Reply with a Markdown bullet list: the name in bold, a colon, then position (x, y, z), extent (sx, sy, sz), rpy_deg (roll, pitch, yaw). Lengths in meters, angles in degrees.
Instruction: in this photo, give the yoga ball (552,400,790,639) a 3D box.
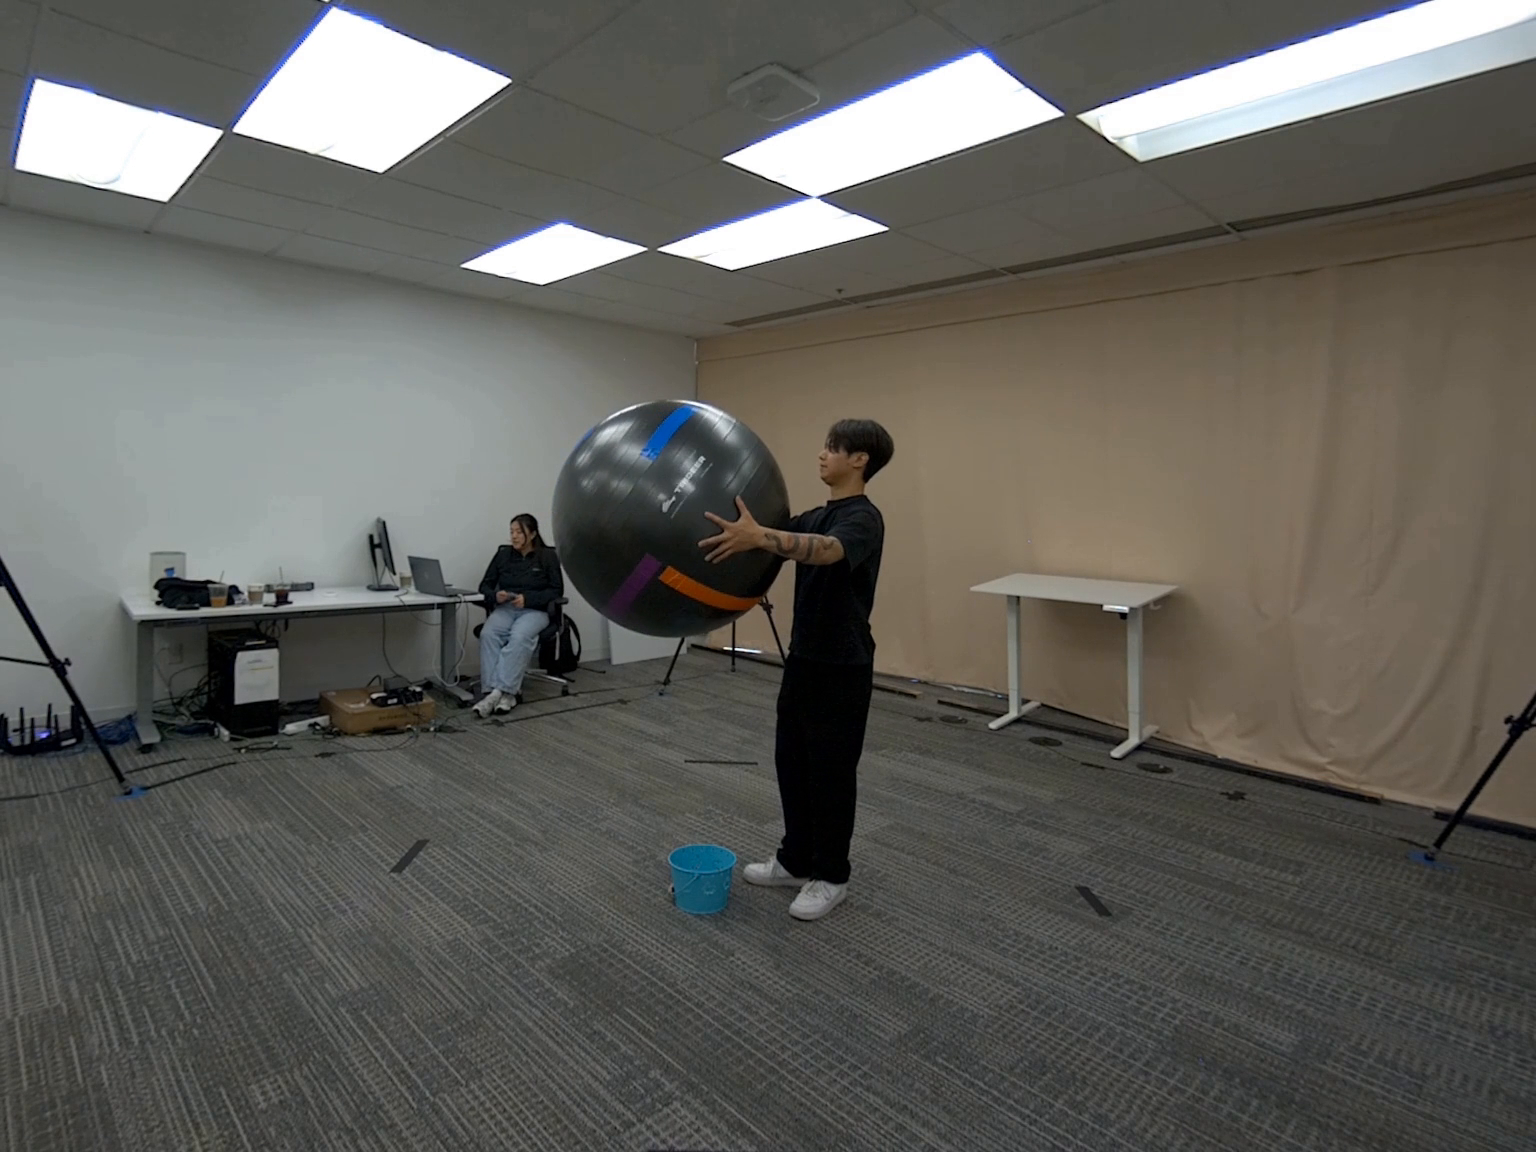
- **yoga ball**: position (-0.312, -0.173, 2.698), extent (0.757, 0.756, 0.761), rpy_deg (1, 4, -1)
